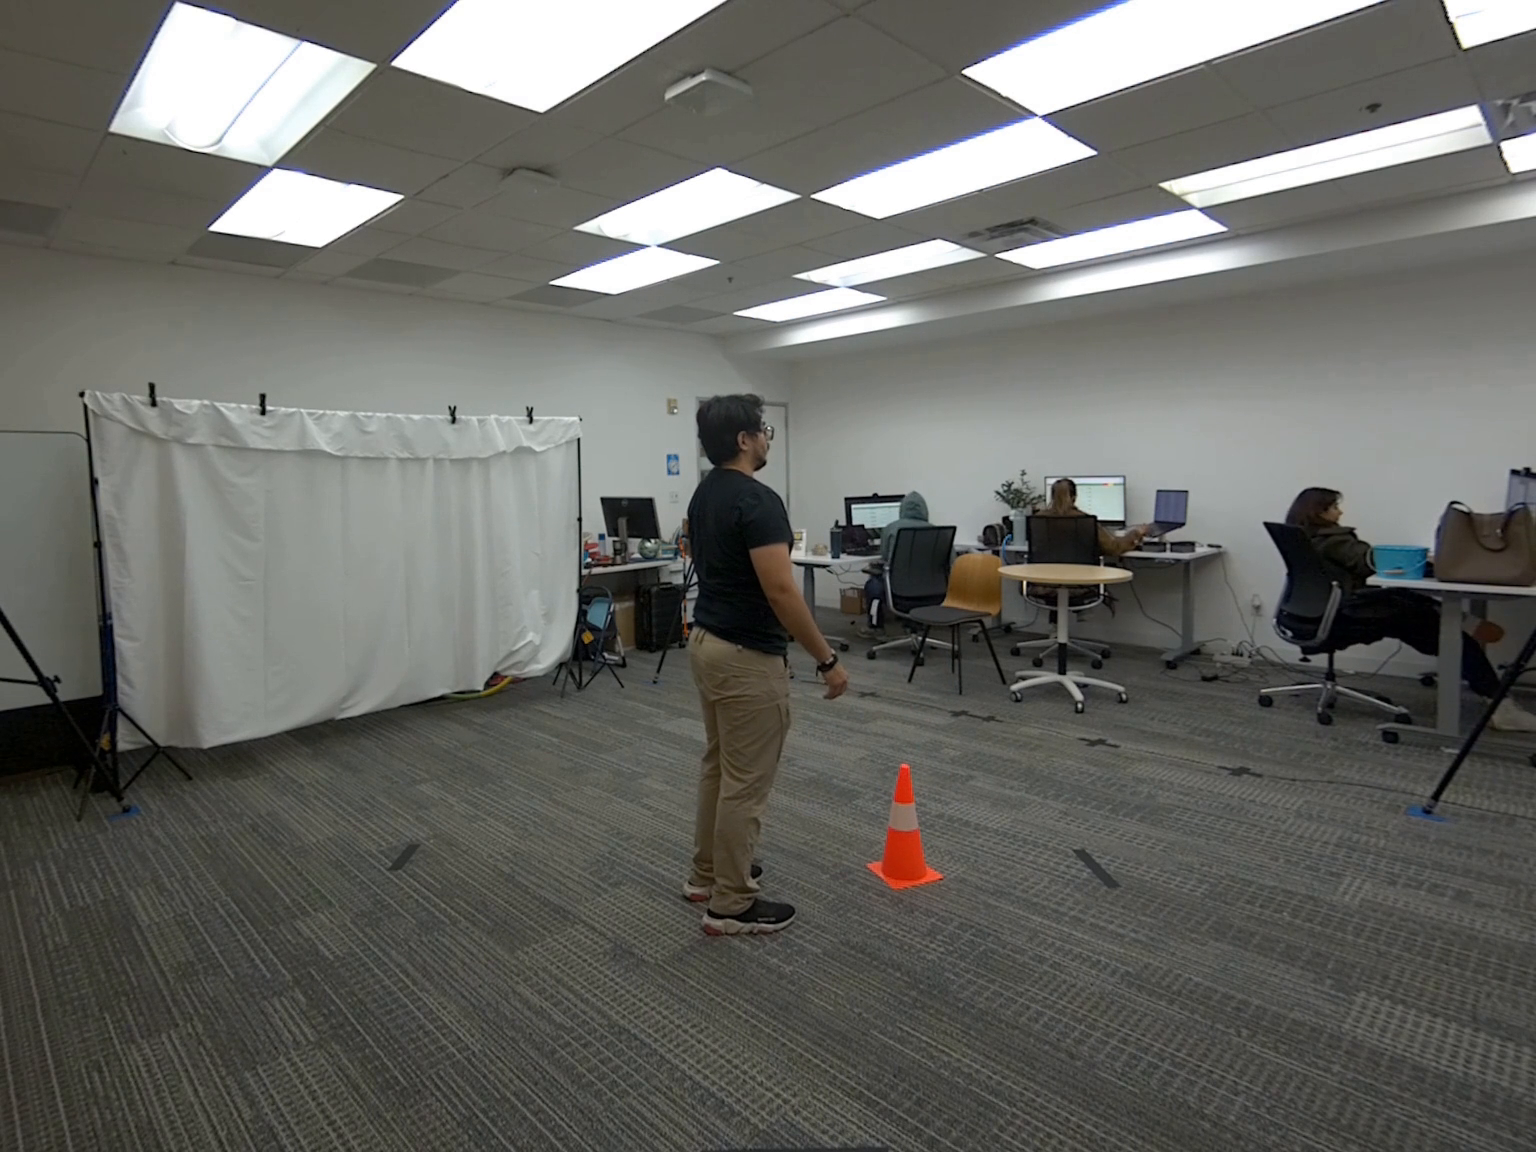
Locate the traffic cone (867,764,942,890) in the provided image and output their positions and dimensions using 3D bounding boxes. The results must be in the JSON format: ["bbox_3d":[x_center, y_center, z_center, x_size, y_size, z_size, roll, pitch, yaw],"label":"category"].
[{"bbox_3d":[0.487,0.856,2.987,0.201,0.382,0.208,-2,5,-20],"label":"traffic cone"}]
